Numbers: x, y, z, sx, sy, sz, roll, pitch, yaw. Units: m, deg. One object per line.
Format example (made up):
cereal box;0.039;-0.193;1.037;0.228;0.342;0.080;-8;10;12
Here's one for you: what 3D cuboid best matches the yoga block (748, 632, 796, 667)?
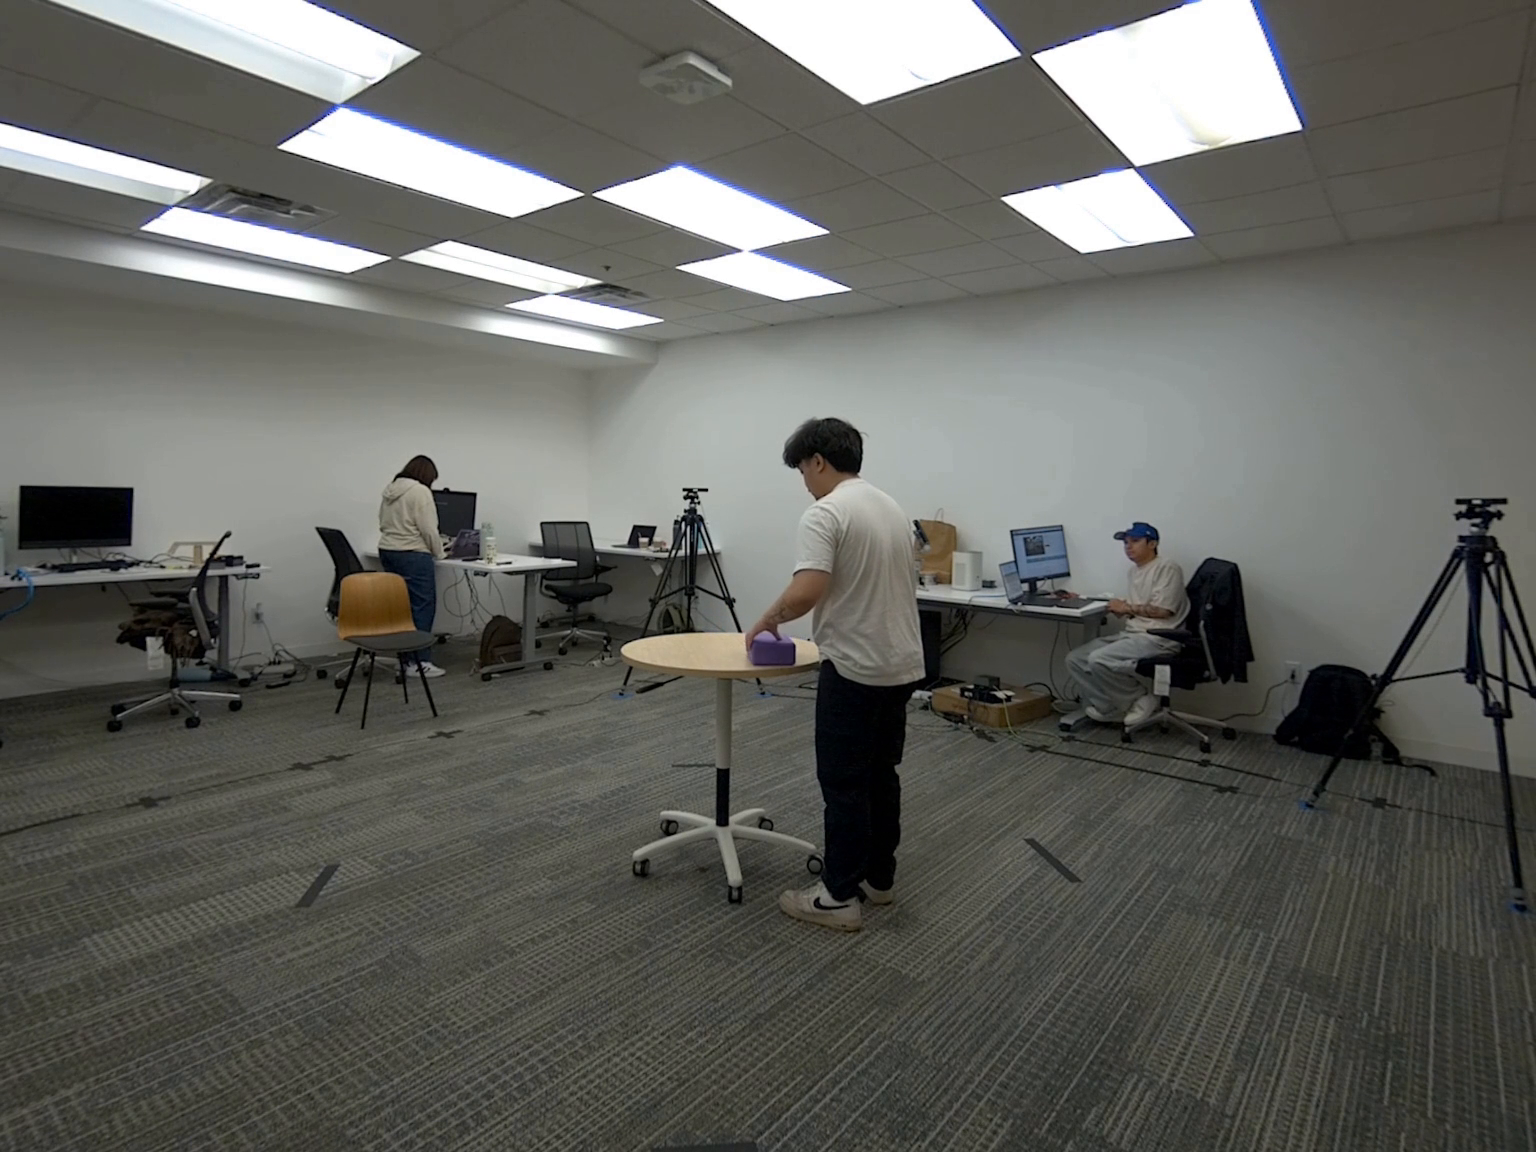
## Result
yoga block;0.001;0.249;2.958;0.148;0.076;0.232;0;8;-5
